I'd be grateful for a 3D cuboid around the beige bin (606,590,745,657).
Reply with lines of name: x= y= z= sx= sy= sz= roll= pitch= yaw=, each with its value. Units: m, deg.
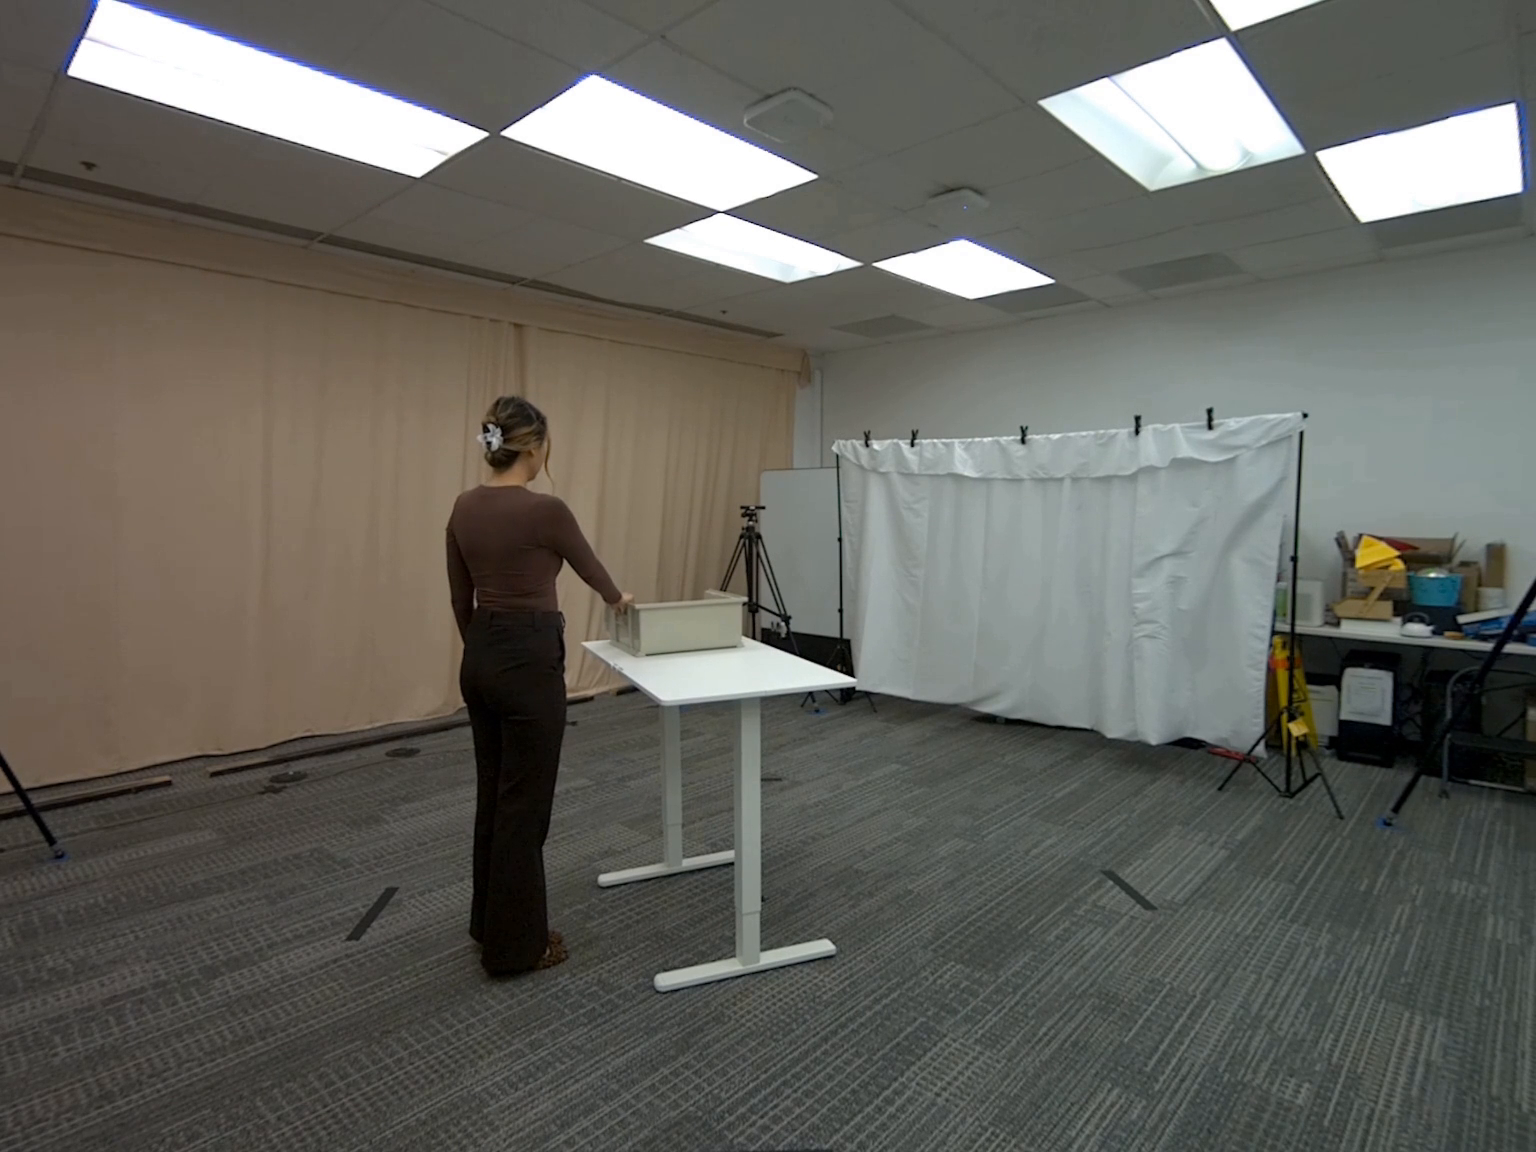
beige bin: x=-0.347 y=0.165 z=3.081 sx=0.412 sy=0.188 sz=0.388 roll=-3 pitch=6 yaw=-27
